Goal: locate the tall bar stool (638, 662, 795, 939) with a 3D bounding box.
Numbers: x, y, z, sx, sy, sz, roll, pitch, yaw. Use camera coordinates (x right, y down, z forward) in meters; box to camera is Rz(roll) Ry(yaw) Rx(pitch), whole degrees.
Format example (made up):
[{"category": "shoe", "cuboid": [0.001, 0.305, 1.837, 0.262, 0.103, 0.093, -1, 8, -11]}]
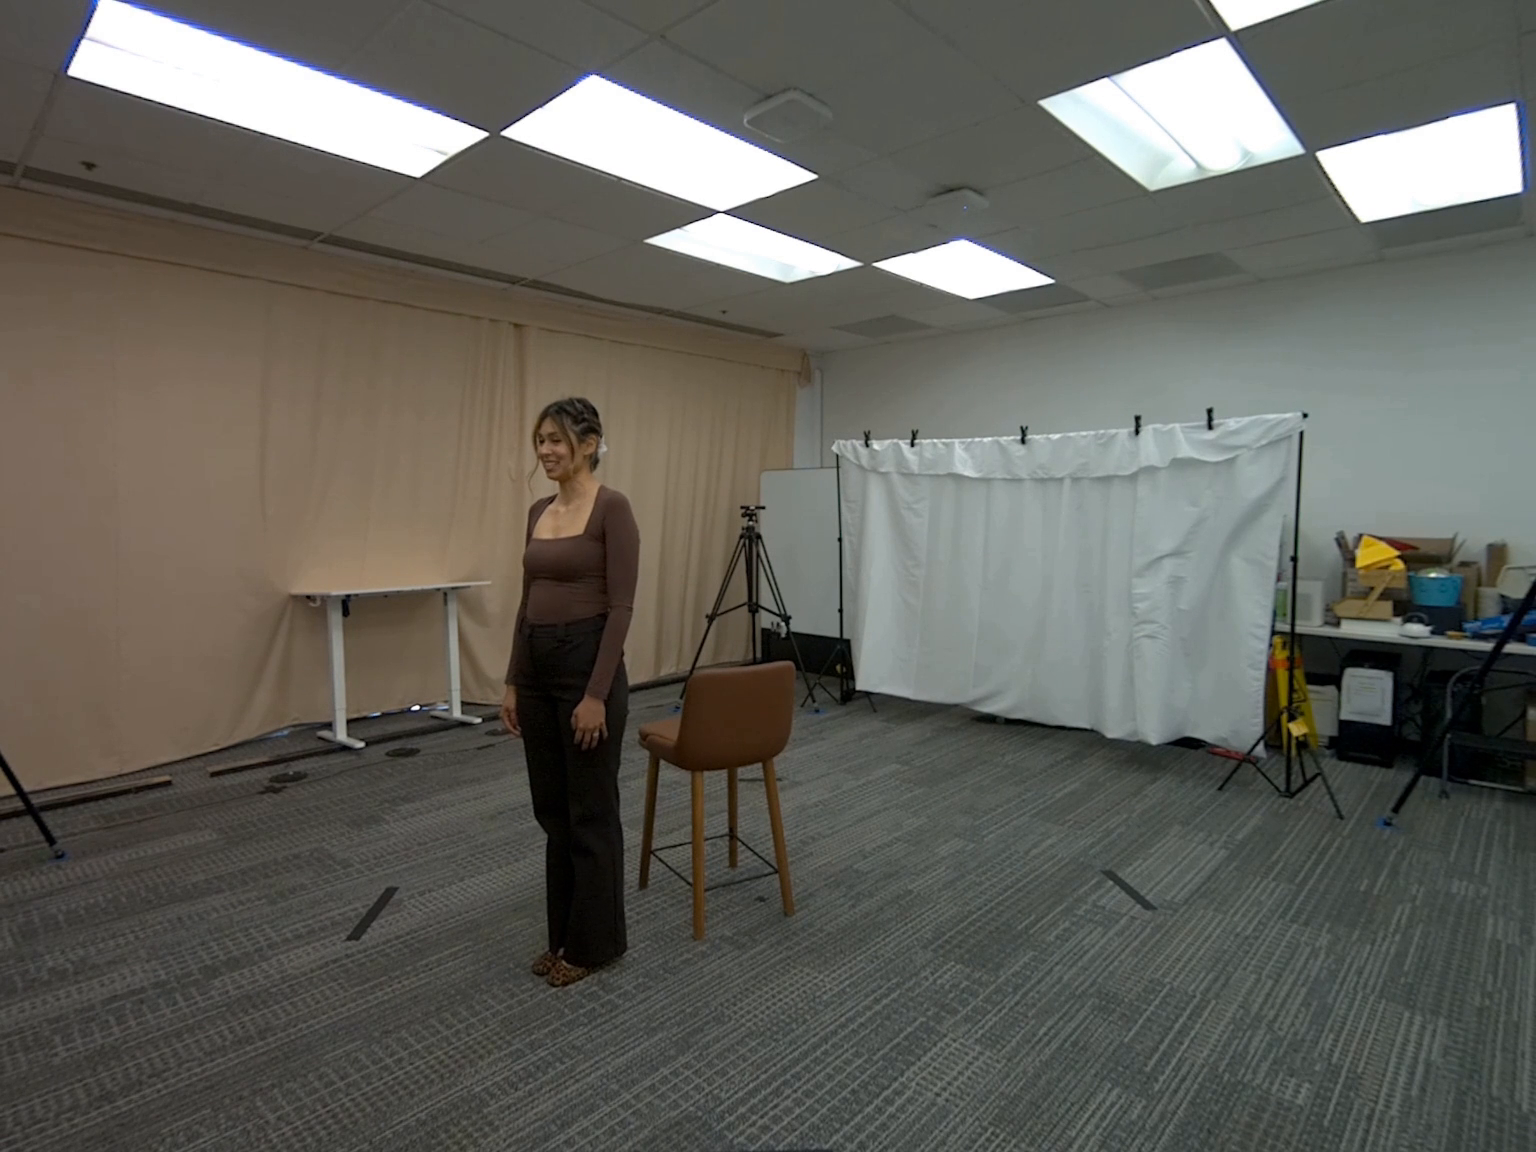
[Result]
[{"category": "tall bar stool", "cuboid": [-0.182, 0.714, 2.951, 0.444, 0.887, 0.482, -2, 6, -30]}]
